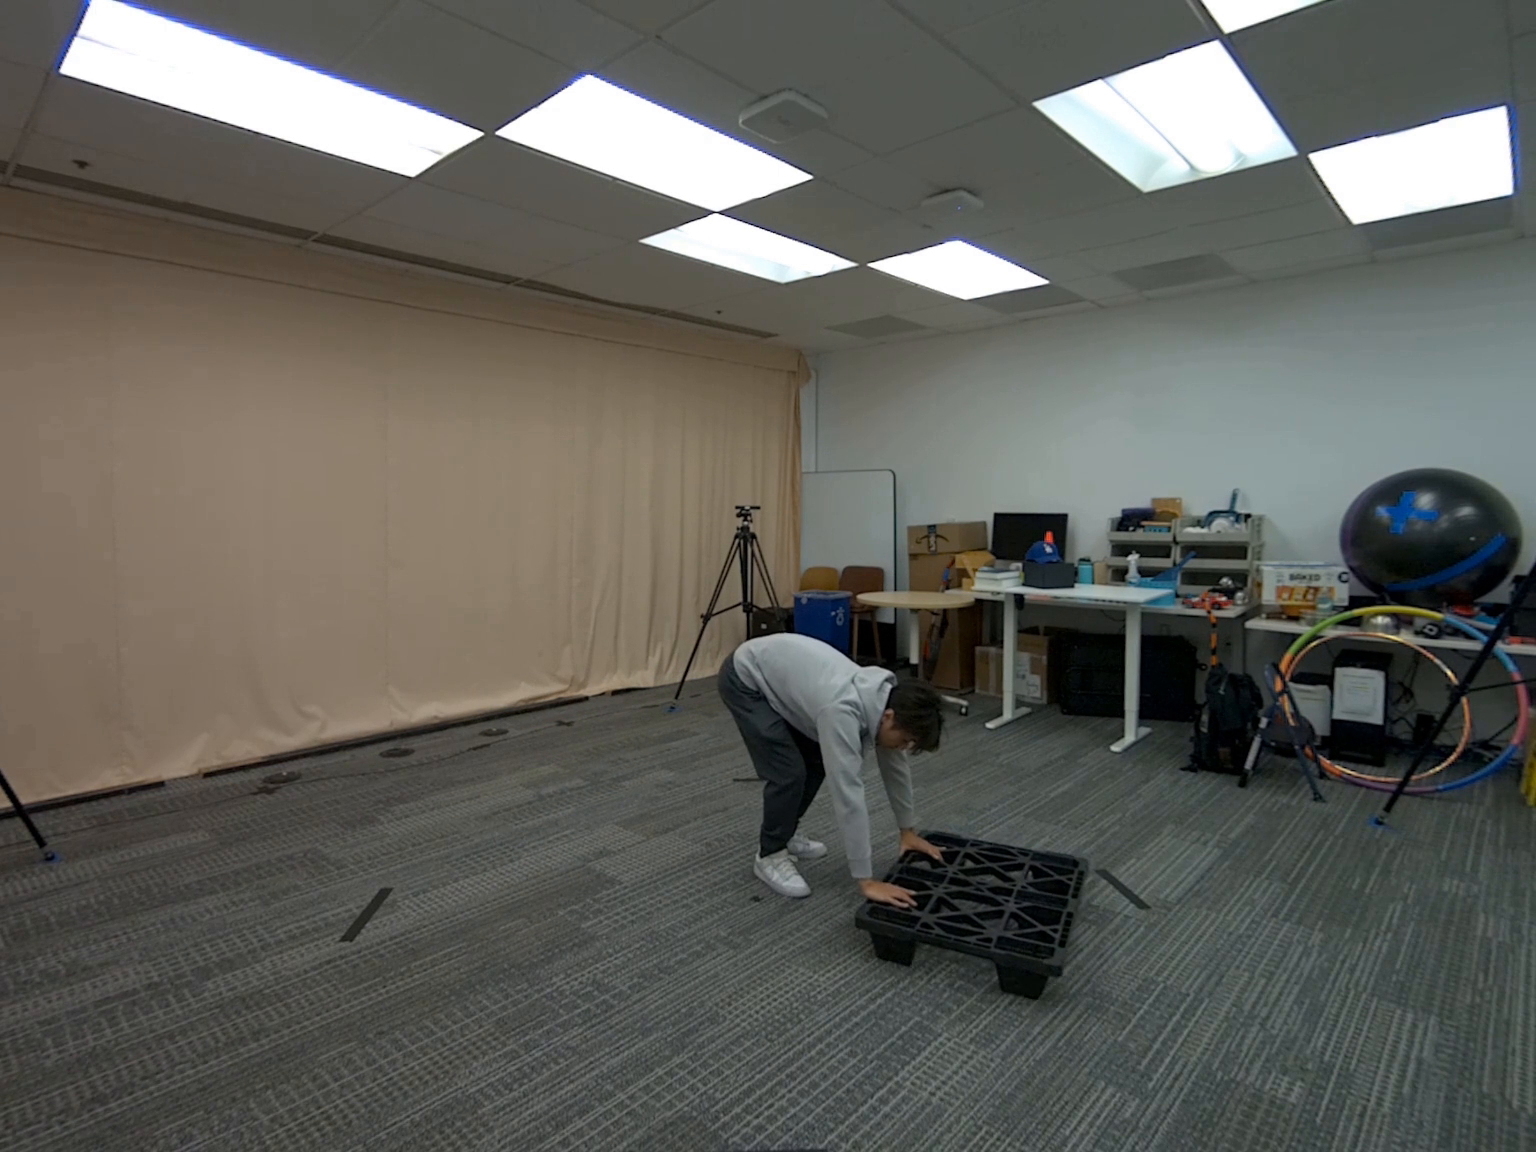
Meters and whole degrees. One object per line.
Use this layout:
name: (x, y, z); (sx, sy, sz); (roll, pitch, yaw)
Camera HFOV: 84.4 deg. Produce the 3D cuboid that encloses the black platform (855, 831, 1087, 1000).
black platform: (0.708, 1.089, 2.793); (0.622, 0.143, 0.786); (3, 6, 27)
